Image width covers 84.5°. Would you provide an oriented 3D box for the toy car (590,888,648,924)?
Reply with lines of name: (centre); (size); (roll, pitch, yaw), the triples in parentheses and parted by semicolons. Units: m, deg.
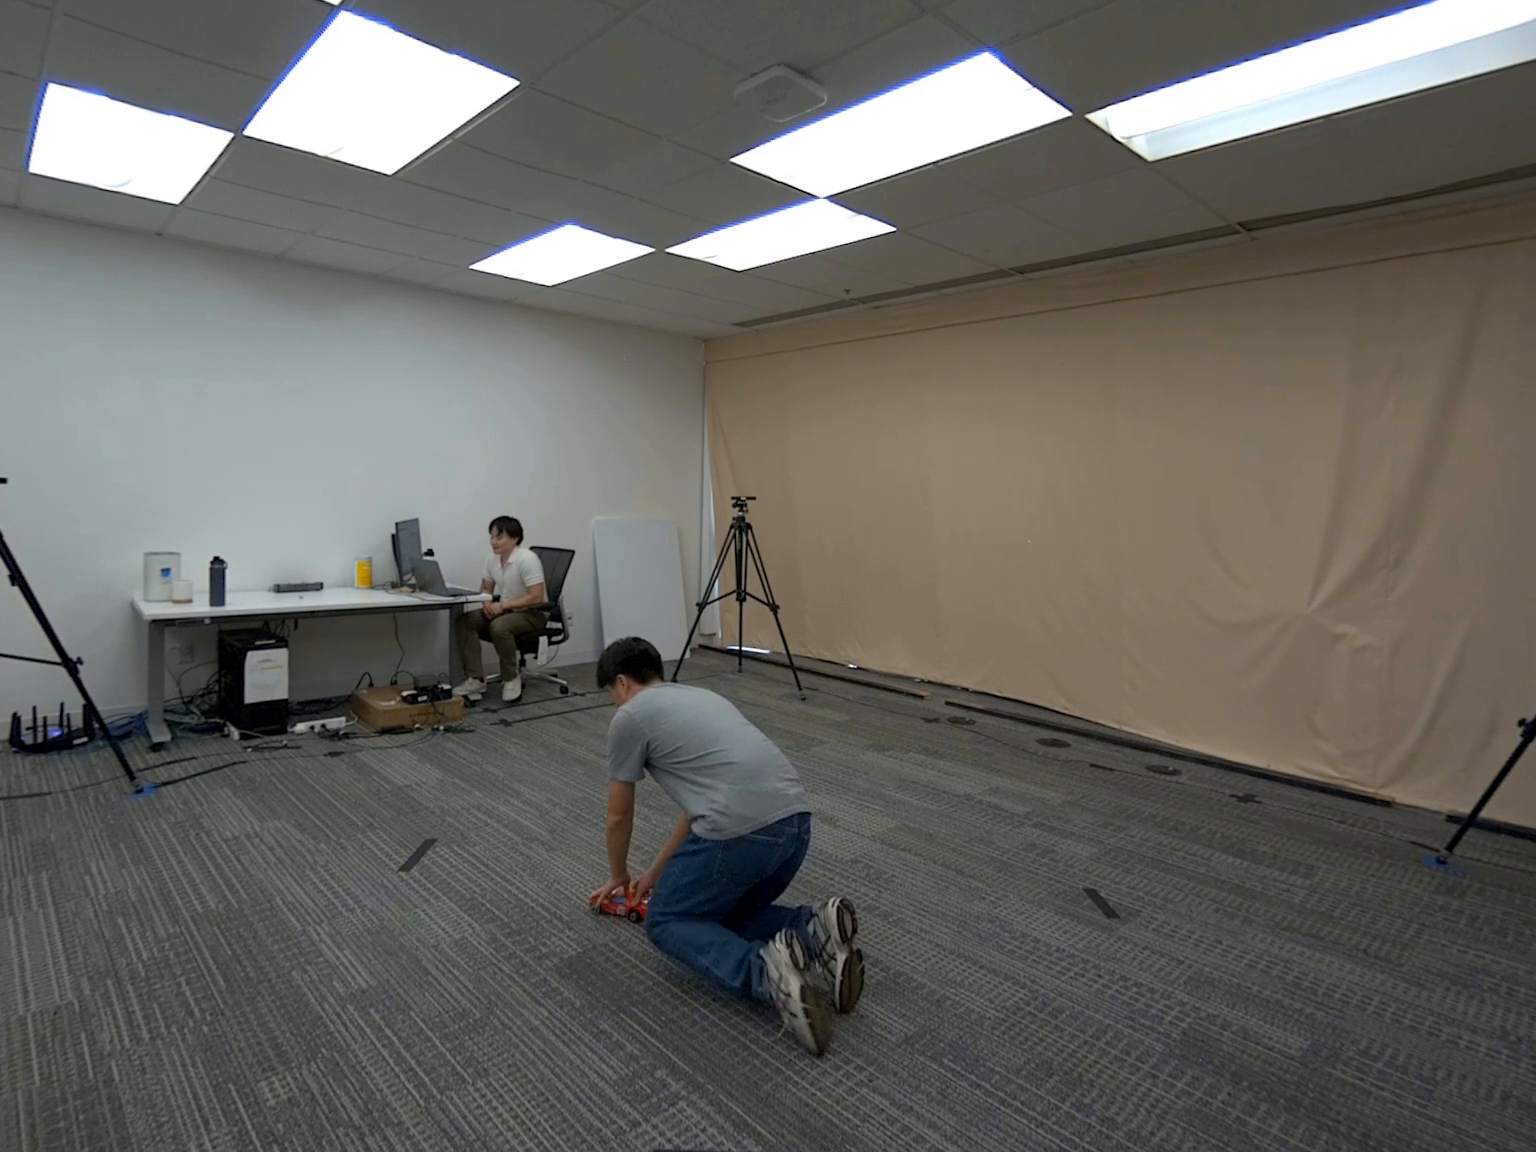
toy car: (-0.475, 1.101, 2.804); (0.258, 0.083, 0.129); (-9, 3, 20)
